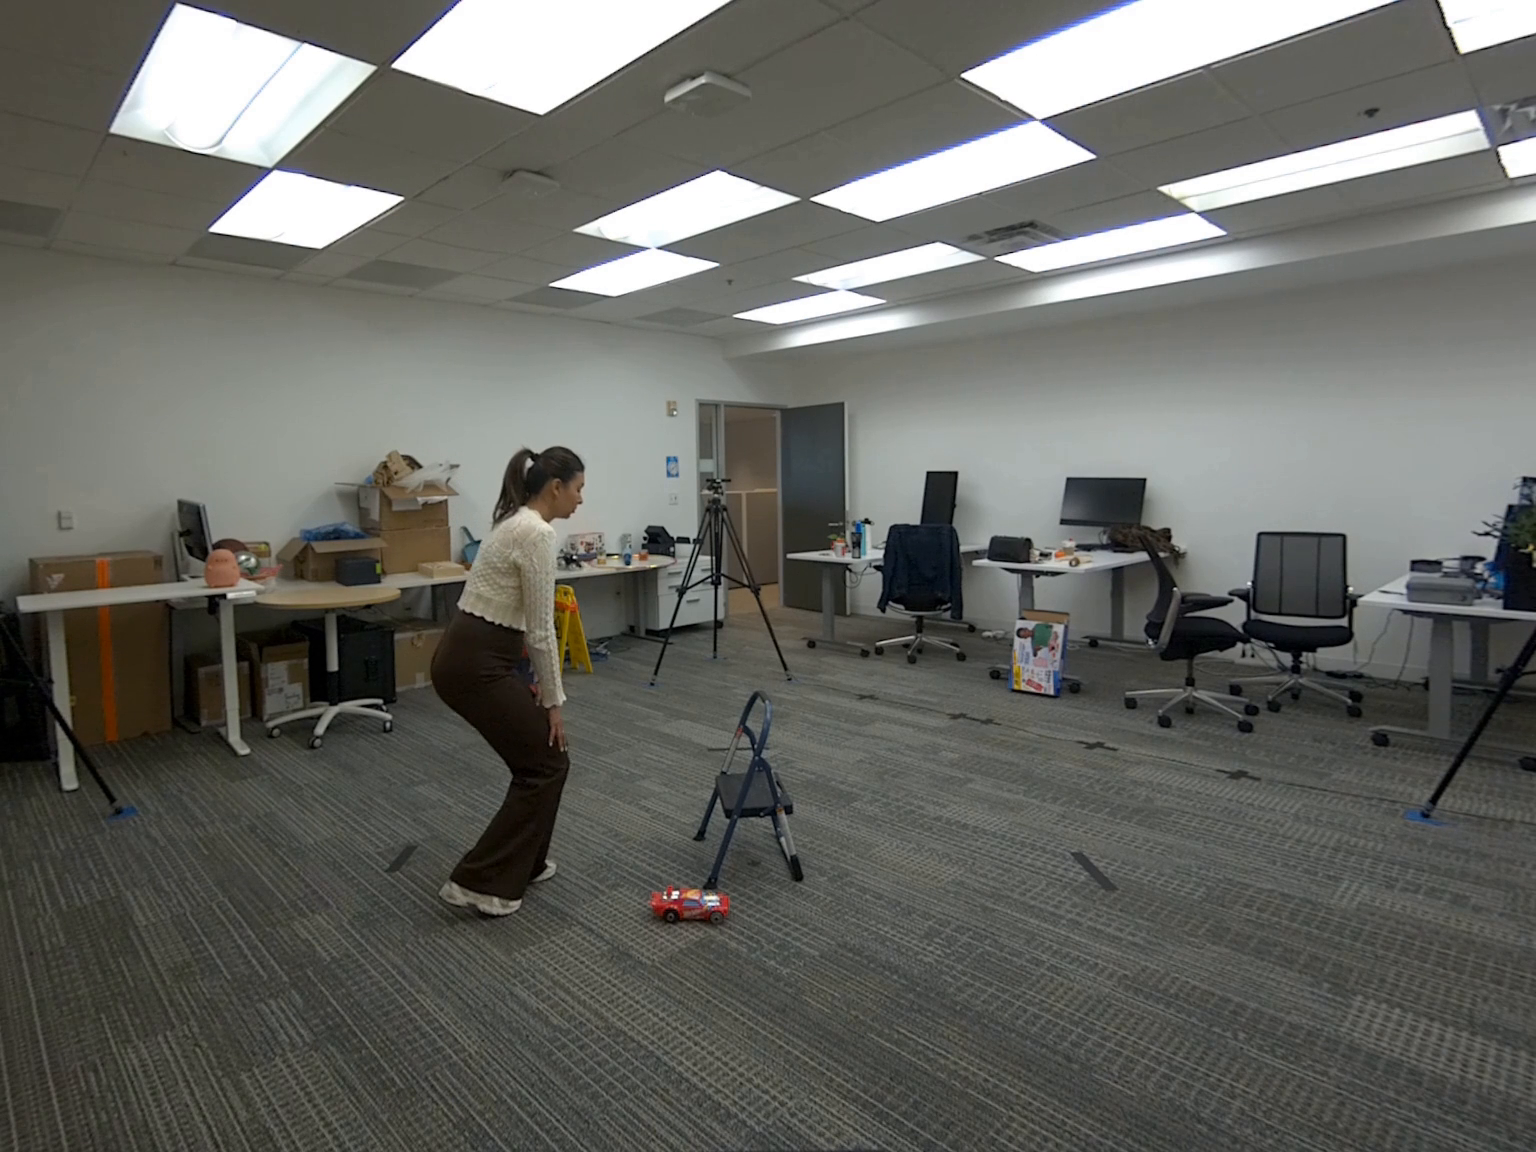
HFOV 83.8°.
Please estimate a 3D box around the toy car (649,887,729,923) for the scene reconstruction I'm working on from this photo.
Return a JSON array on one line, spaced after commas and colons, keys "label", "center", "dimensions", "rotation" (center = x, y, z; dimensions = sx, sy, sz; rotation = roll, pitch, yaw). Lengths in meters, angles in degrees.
[{"label": "toy car", "center": [-0.257, 1.059, 2.734], "dimensions": [0.255, 0.083, 0.130], "rotation": [10, 6, 1]}]
